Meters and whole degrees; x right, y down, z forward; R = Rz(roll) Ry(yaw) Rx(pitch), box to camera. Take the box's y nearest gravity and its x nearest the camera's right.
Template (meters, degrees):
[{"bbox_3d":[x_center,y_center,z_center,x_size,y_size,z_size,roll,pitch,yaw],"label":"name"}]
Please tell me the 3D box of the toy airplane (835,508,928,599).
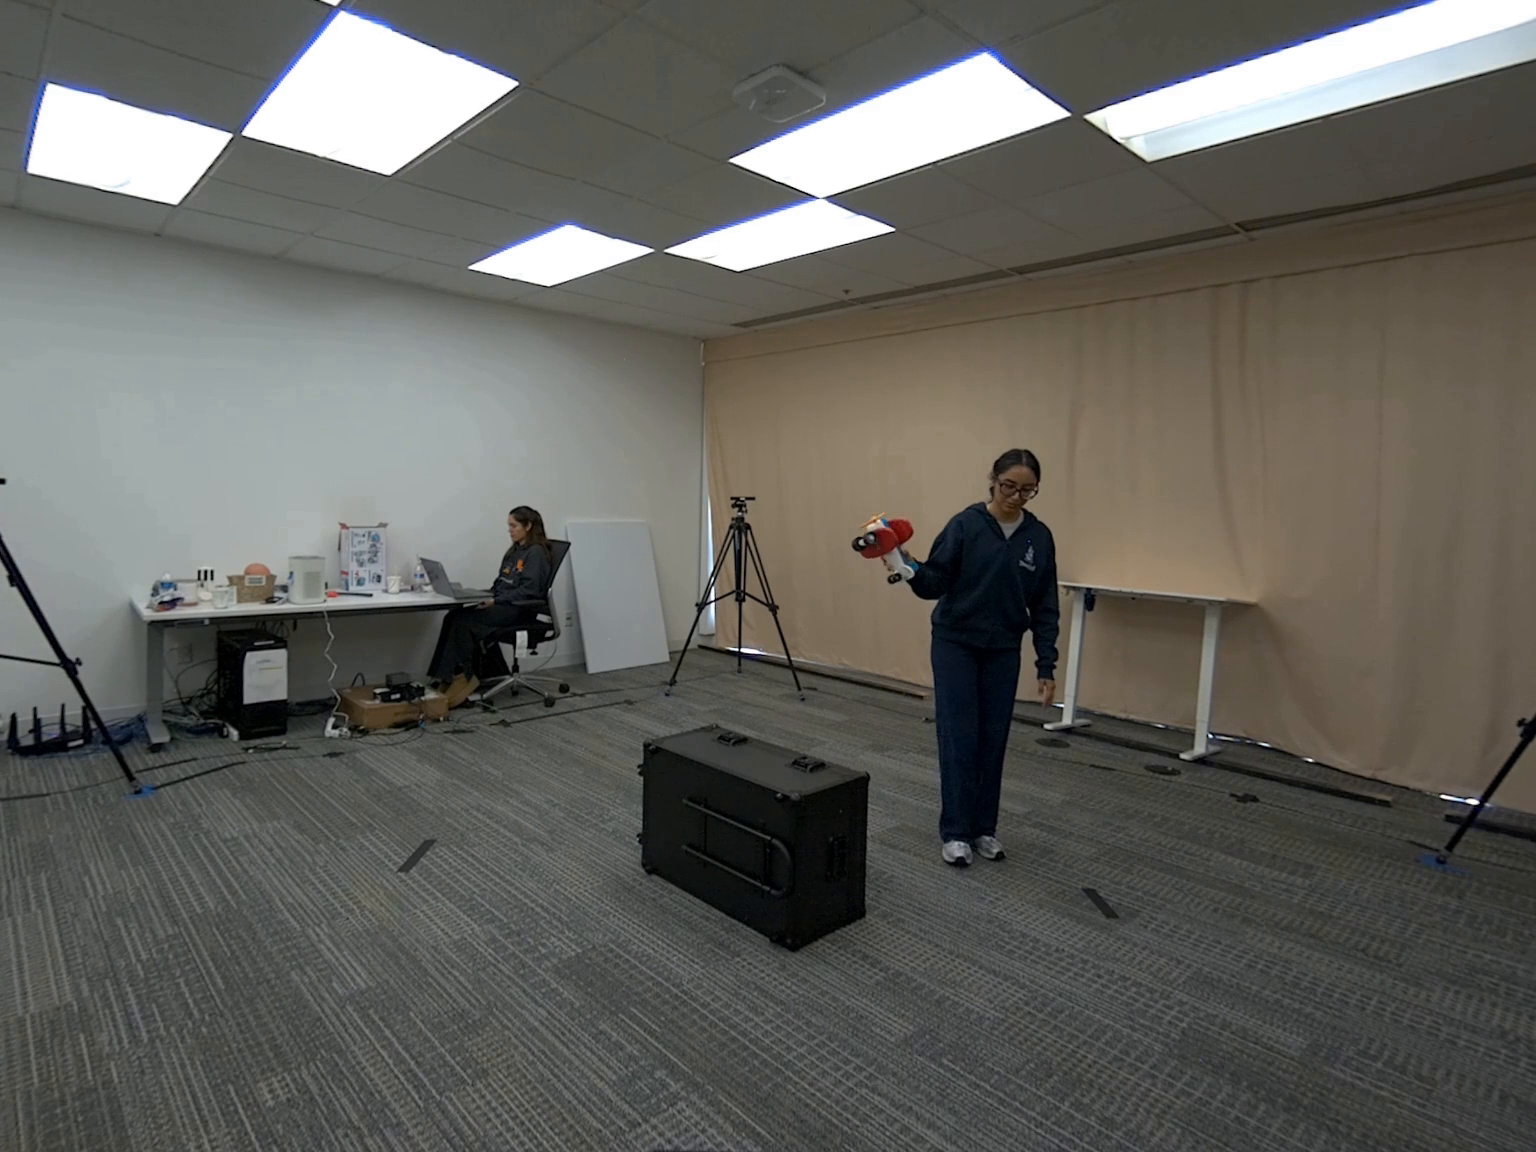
[{"bbox_3d":[0.435,-0.088,3.144,0.156,0.252,0.258,-44,32,-23],"label":"toy airplane"}]
